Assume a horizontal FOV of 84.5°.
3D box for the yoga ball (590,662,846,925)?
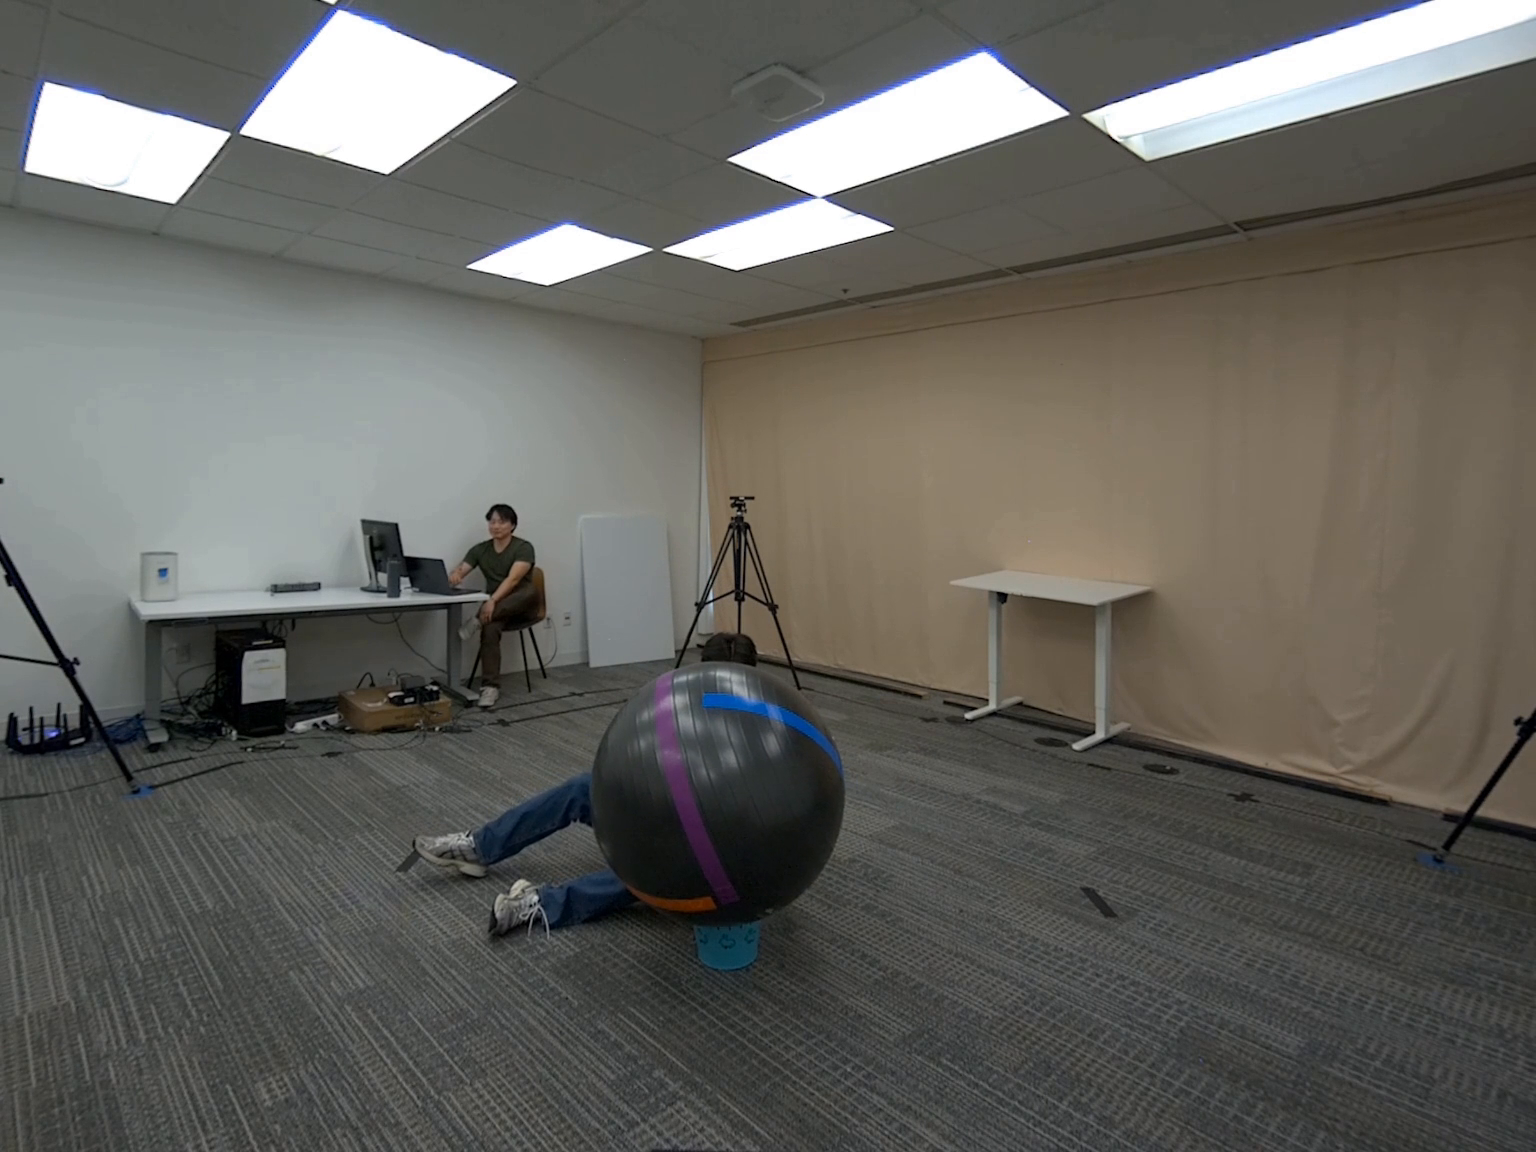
[{"bbox_3d":[-0.152,0.649,2.517,0.757,0.756,0.761,1,4,-1],"label":"yoga ball"}]
